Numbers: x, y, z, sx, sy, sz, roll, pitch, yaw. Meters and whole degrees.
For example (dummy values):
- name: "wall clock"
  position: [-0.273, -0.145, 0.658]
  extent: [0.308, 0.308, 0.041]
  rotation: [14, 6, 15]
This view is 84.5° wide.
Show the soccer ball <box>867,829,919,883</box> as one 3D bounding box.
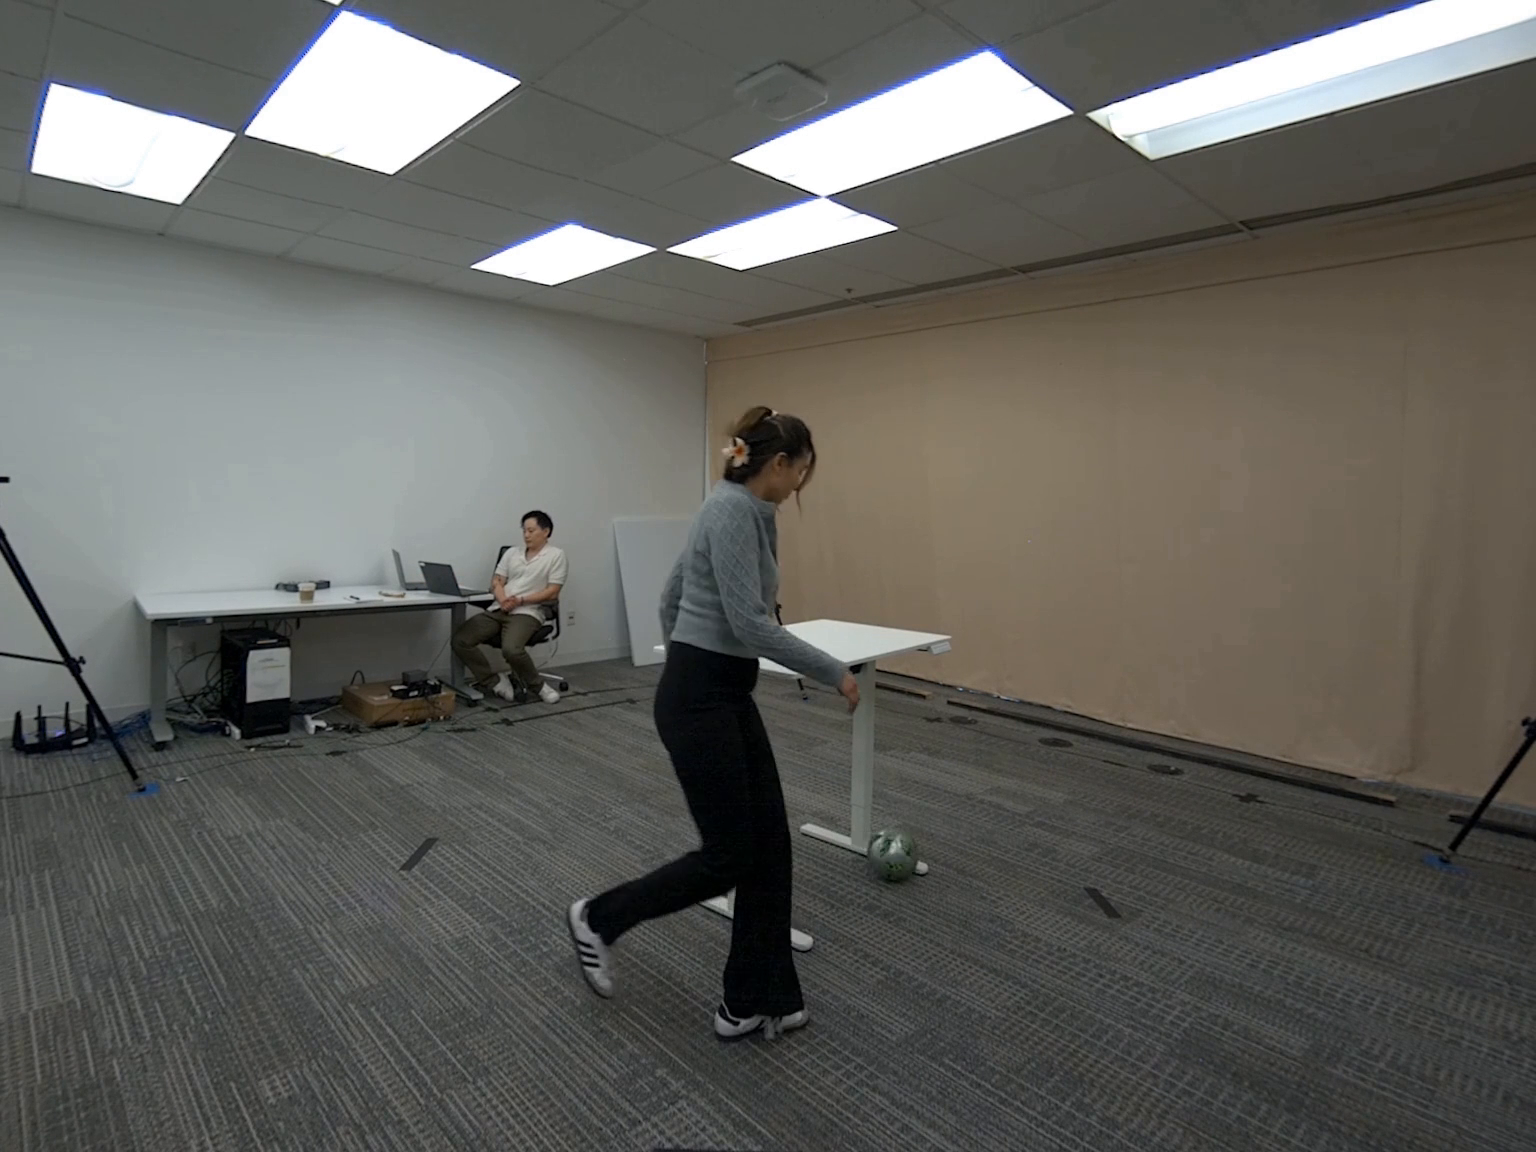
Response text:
- name: "soccer ball"
  position: [0.444, 1.026, 3.099]
  extent: [0.187, 0.187, 0.188]
  rotation: [1, 4, -1]
